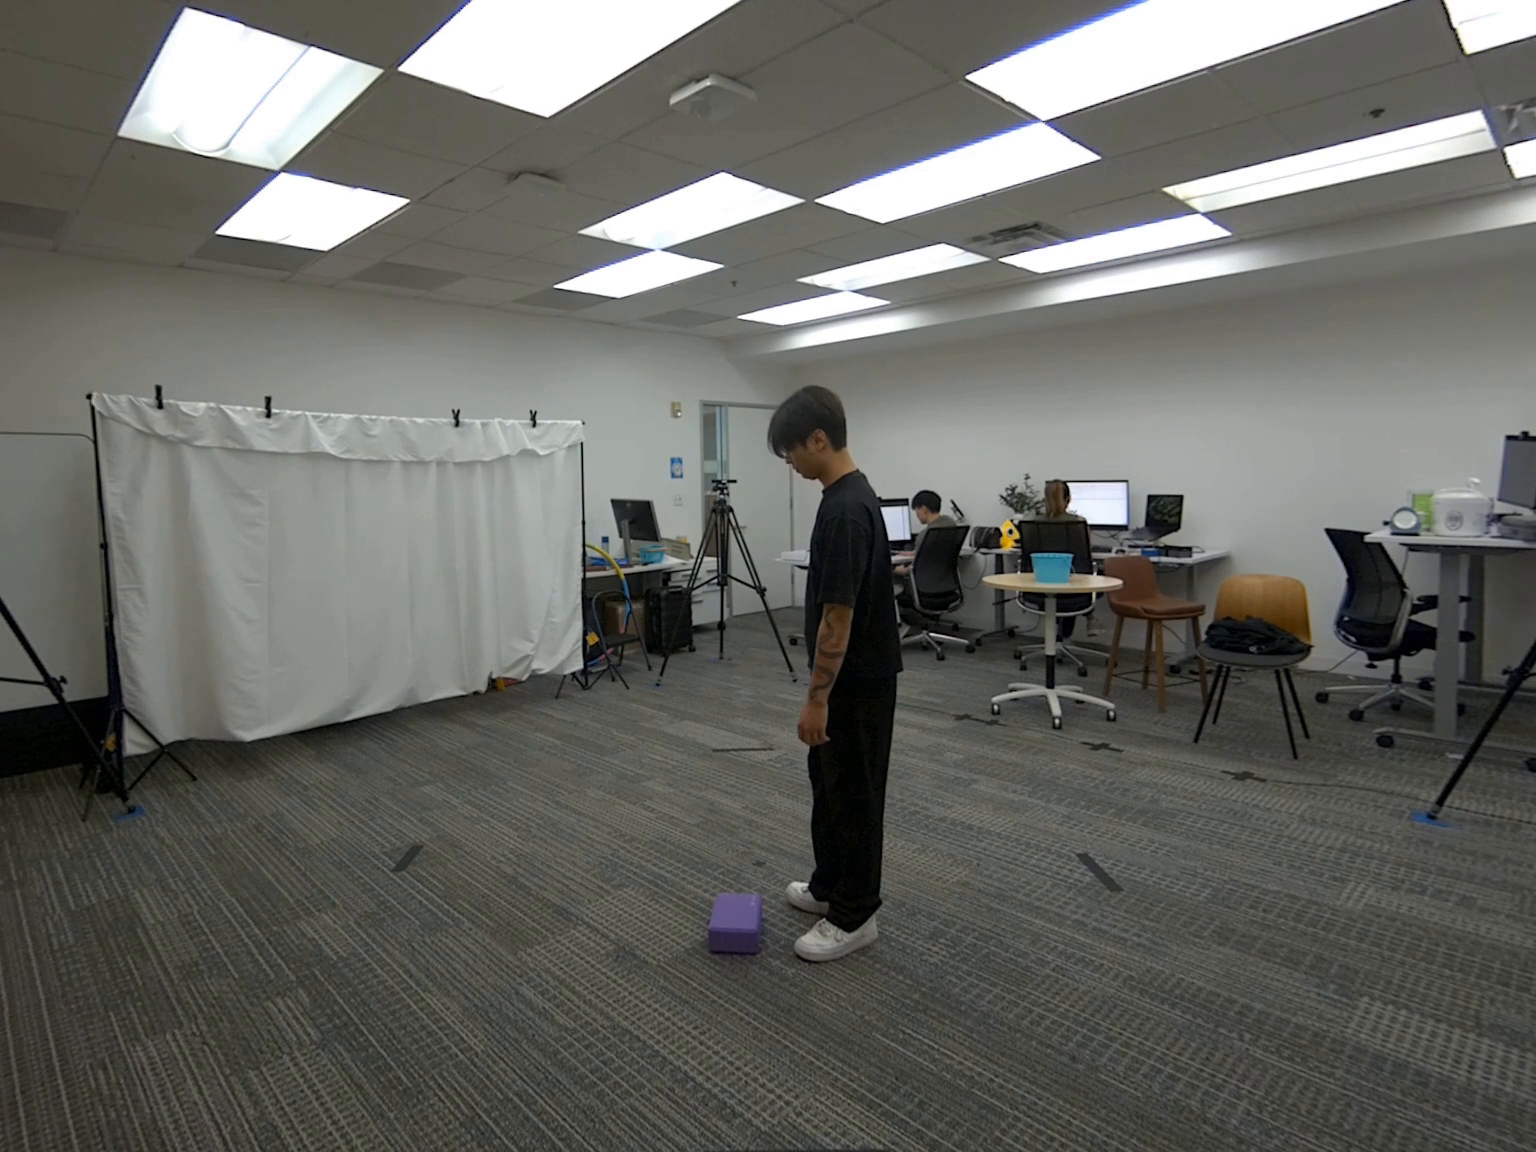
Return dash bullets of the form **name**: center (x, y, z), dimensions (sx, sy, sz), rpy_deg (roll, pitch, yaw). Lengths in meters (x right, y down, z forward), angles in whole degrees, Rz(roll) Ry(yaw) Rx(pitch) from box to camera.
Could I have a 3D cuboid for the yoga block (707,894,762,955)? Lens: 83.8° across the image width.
- **yoga block**: center (-0.089, 1.063, 2.622), dimensions (0.150, 0.076, 0.229), rpy_deg (-1, 4, 4)
